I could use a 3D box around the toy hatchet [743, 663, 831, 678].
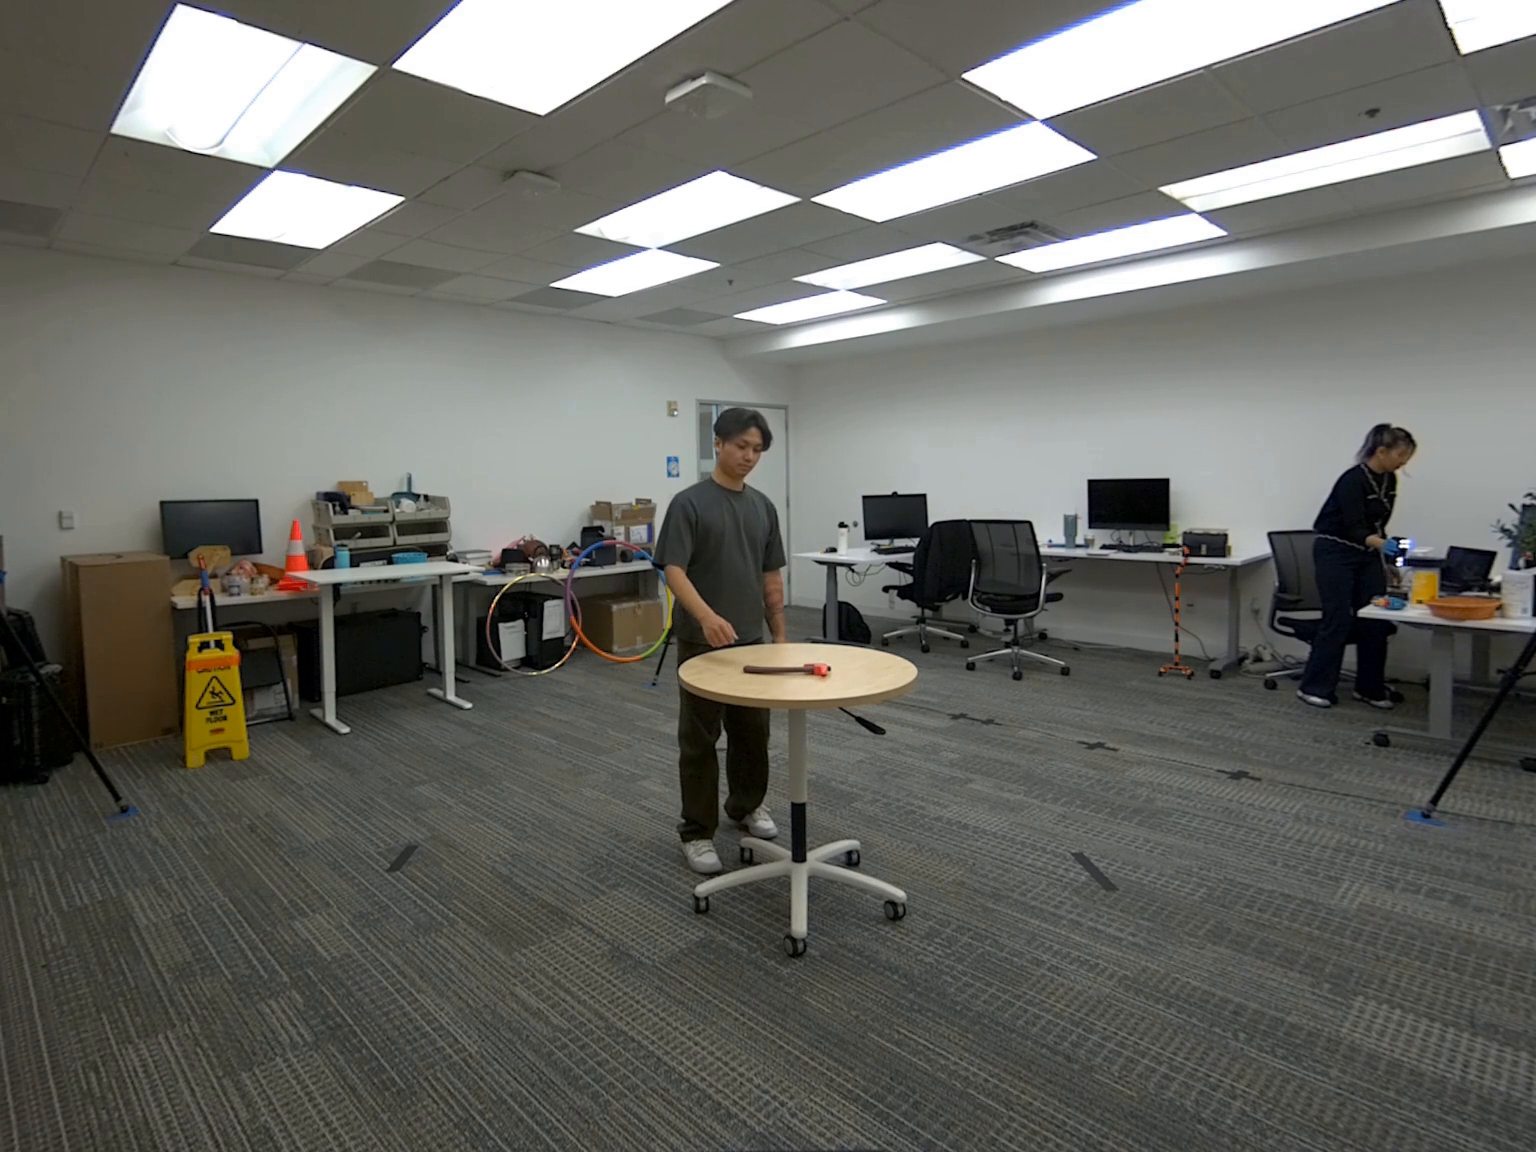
[{"bbox_3d":[0.069,0.292,2.716,0.275,0.029,0.129,0,6,21],"label":"toy hatchet"}]
